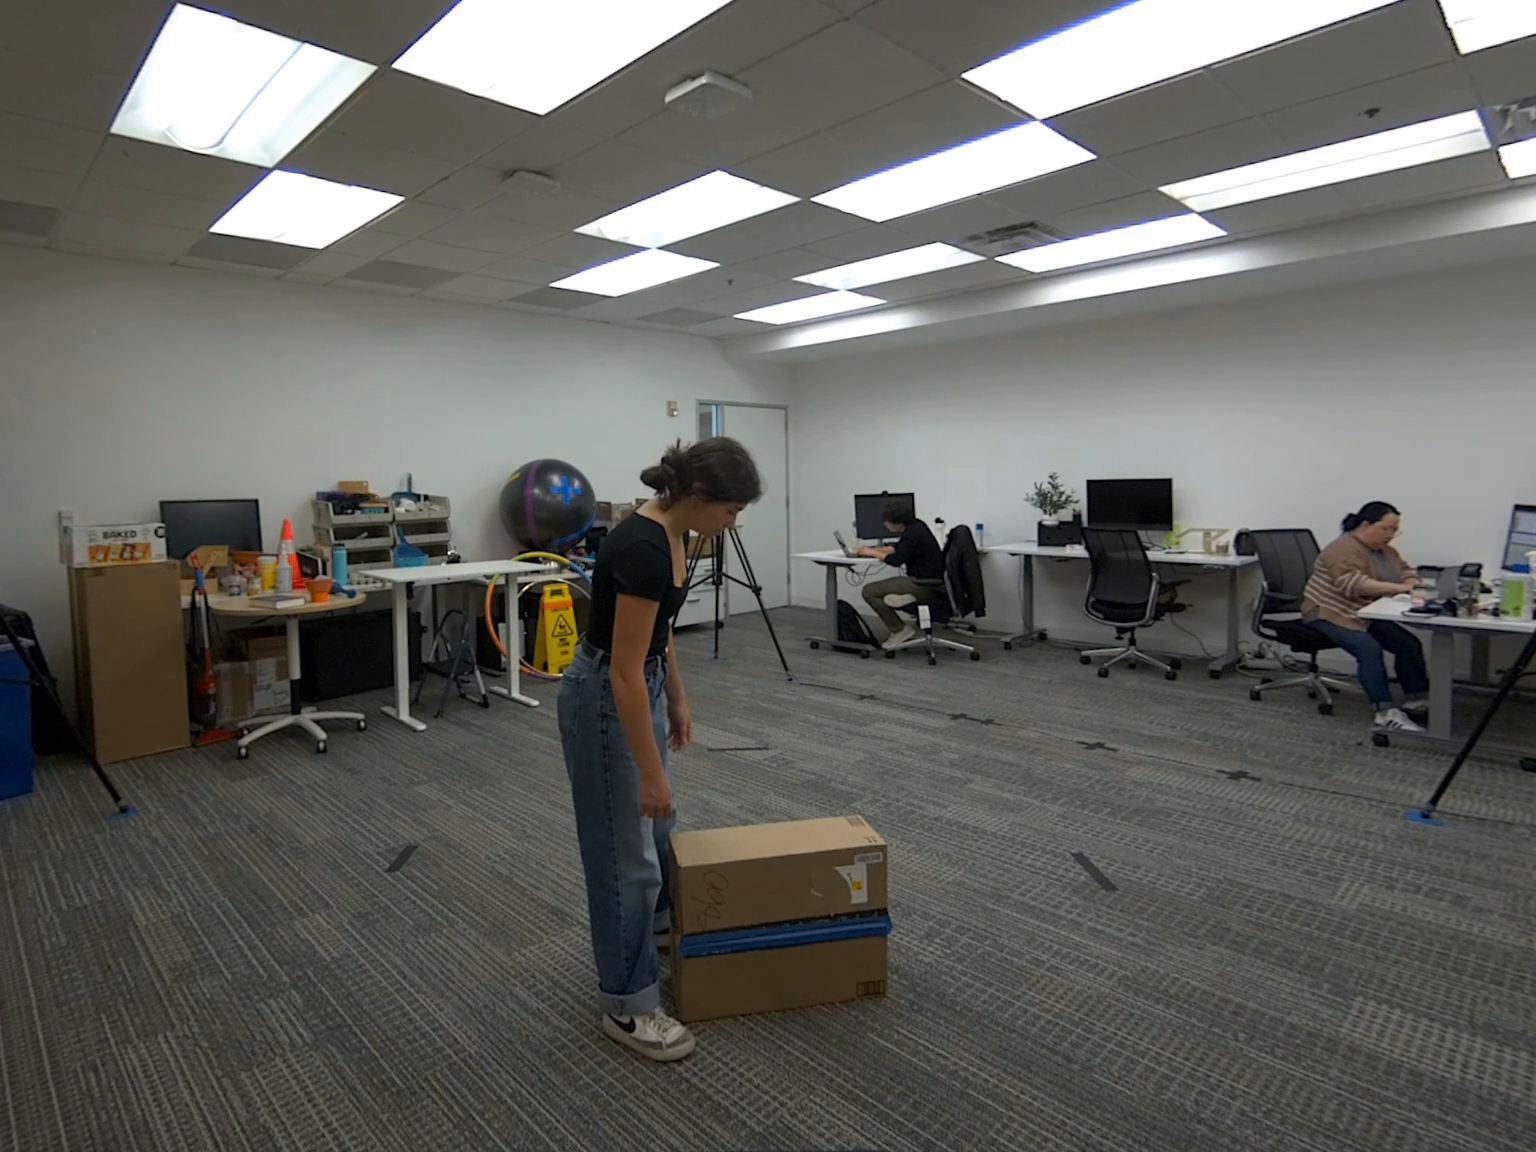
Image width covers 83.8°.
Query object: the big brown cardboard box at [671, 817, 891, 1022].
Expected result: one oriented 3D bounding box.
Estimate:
[{"bbox_3d":[0.035,0.926,2.340,0.583,0.416,0.236,-3,3,-10],"label":"big brown cardboard box"}]
